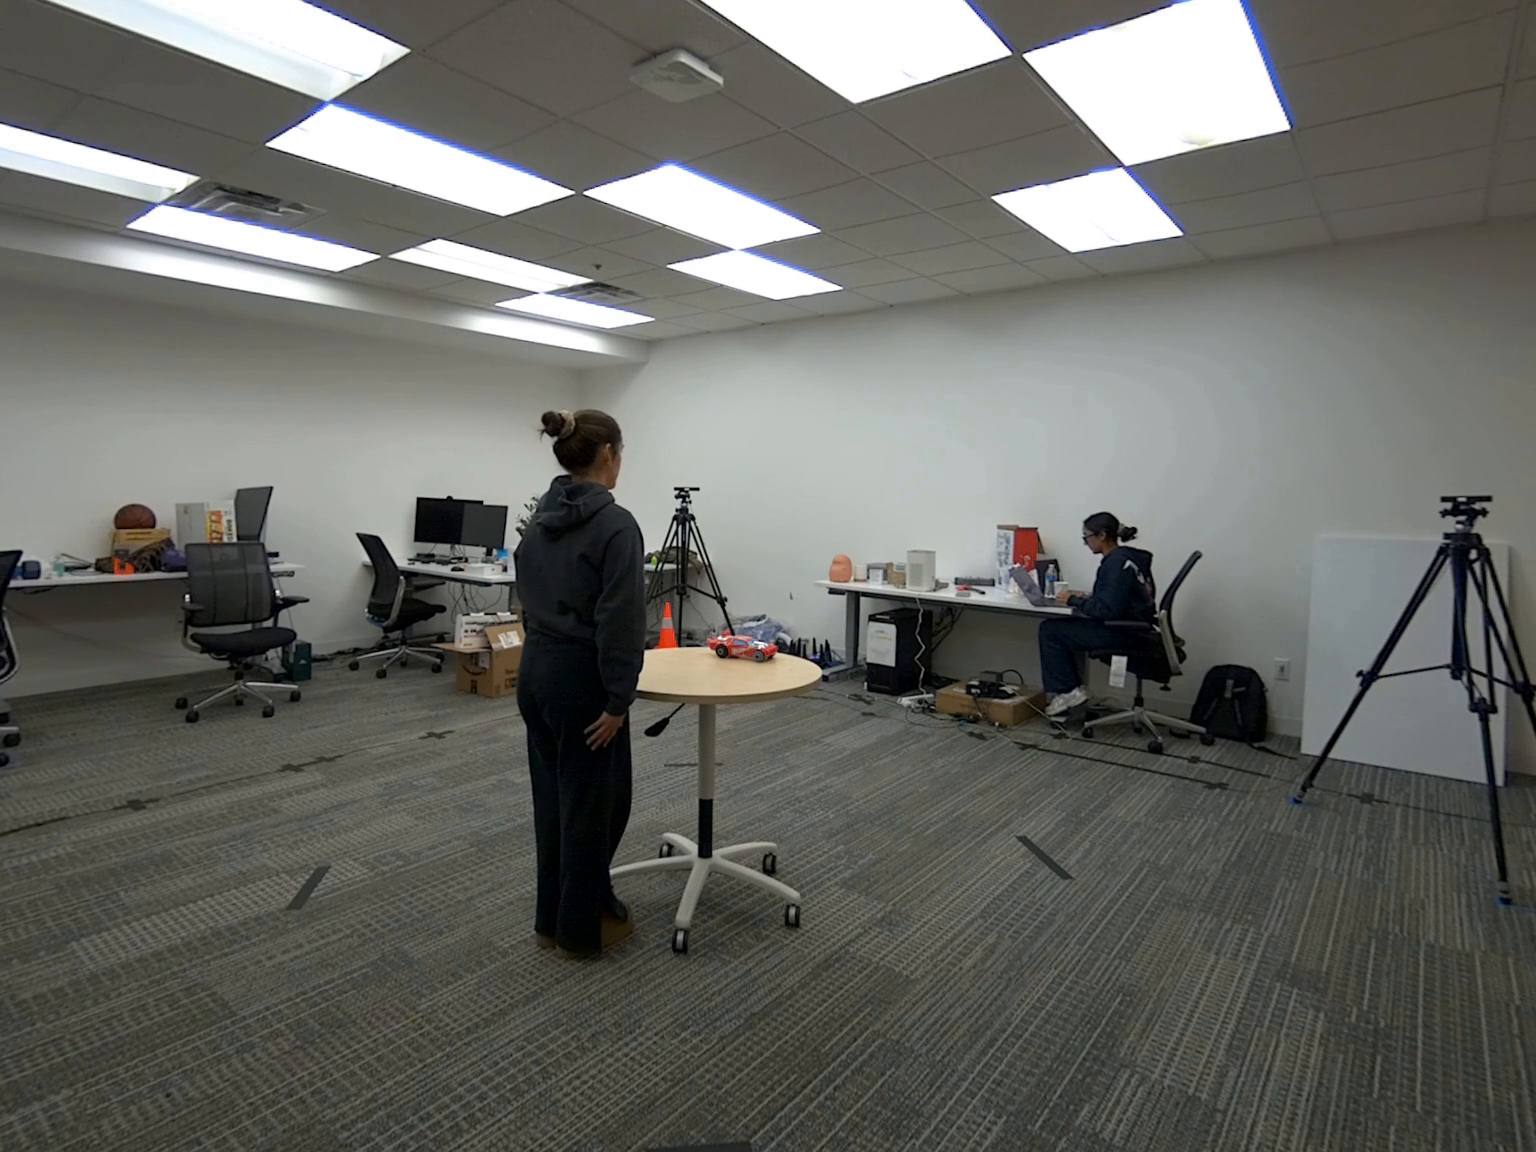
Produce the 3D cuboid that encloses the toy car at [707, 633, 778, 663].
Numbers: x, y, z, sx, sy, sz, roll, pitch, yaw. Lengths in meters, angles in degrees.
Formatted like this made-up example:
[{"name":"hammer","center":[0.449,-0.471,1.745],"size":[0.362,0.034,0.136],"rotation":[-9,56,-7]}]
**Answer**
[{"name":"toy car","center":[-0.104,0.260,3.057],"size":[0.262,0.082,0.127],"rotation":[15,11,25]}]
